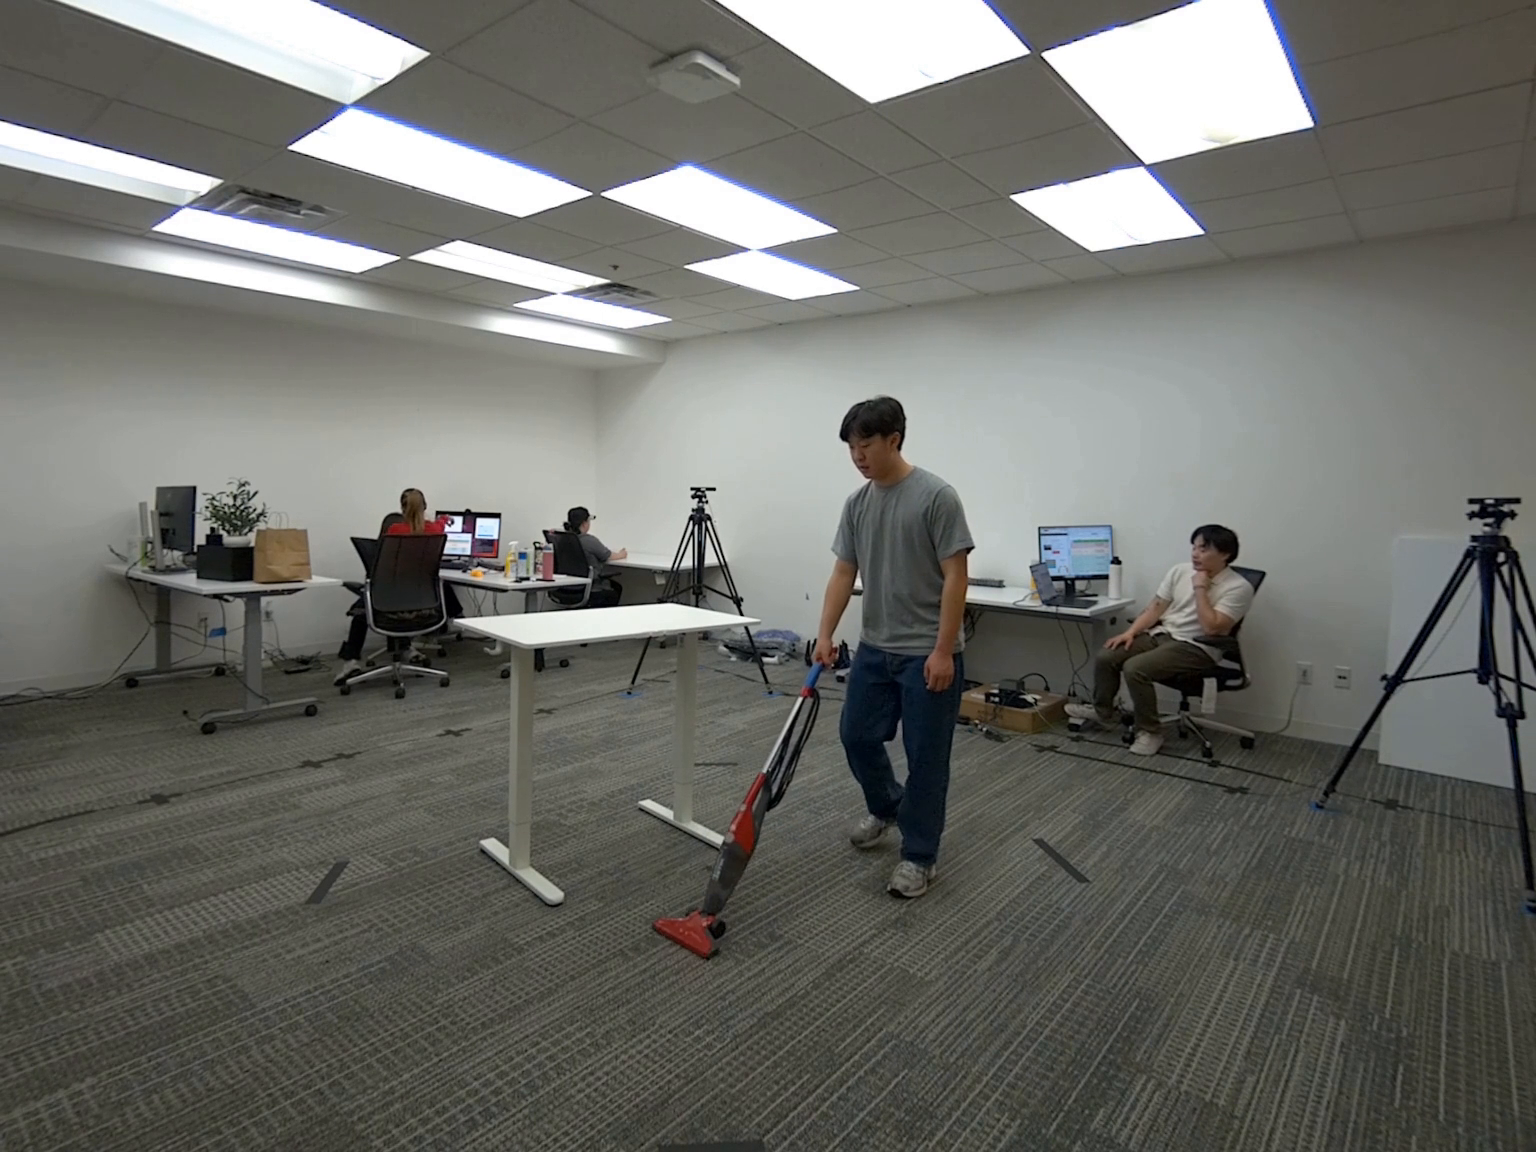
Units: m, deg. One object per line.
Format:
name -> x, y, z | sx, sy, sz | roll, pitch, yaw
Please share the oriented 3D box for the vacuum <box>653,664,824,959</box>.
vacuum -> 0.006, 0.703, 2.842 | 0.262, 1.054, 0.138 | 14, -31, 35
